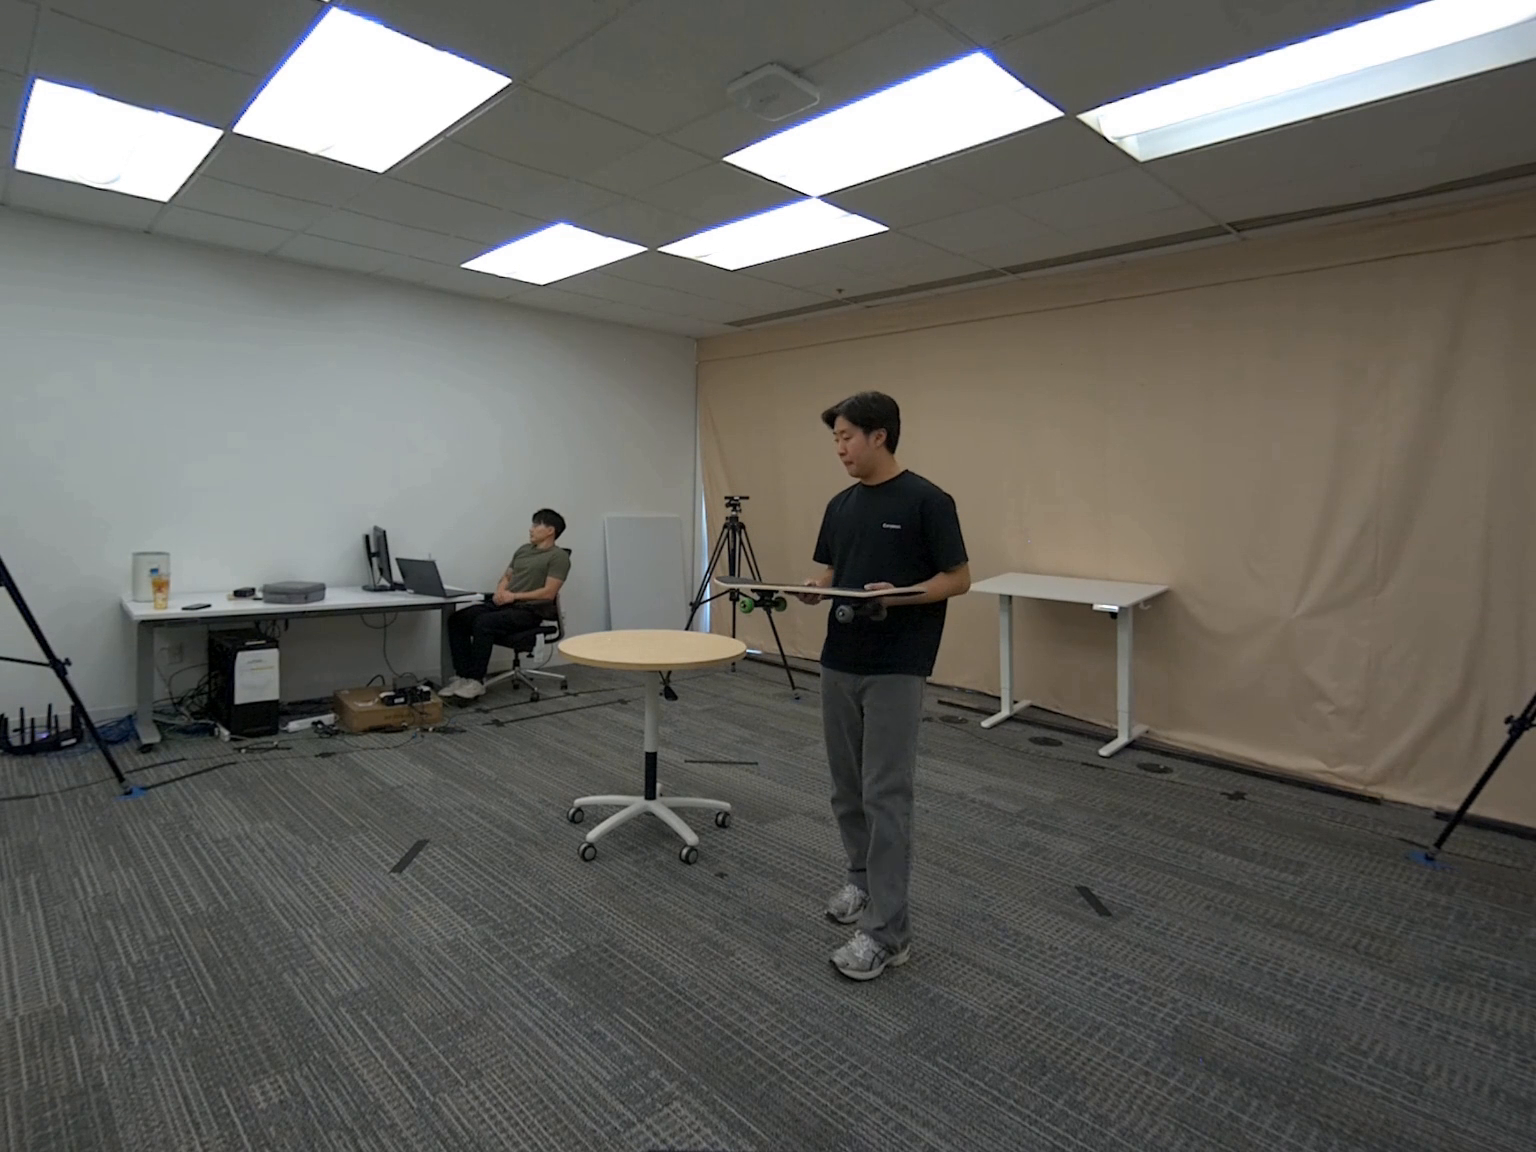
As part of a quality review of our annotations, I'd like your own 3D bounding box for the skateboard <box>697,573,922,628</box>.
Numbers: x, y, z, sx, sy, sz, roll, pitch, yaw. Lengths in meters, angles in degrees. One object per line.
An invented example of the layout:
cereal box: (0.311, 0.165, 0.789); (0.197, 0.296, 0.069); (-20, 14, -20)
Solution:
skateboard: (0.114, 0.072, 2.560); (0.189, 0.110, 0.805); (-6, 7, -43)
